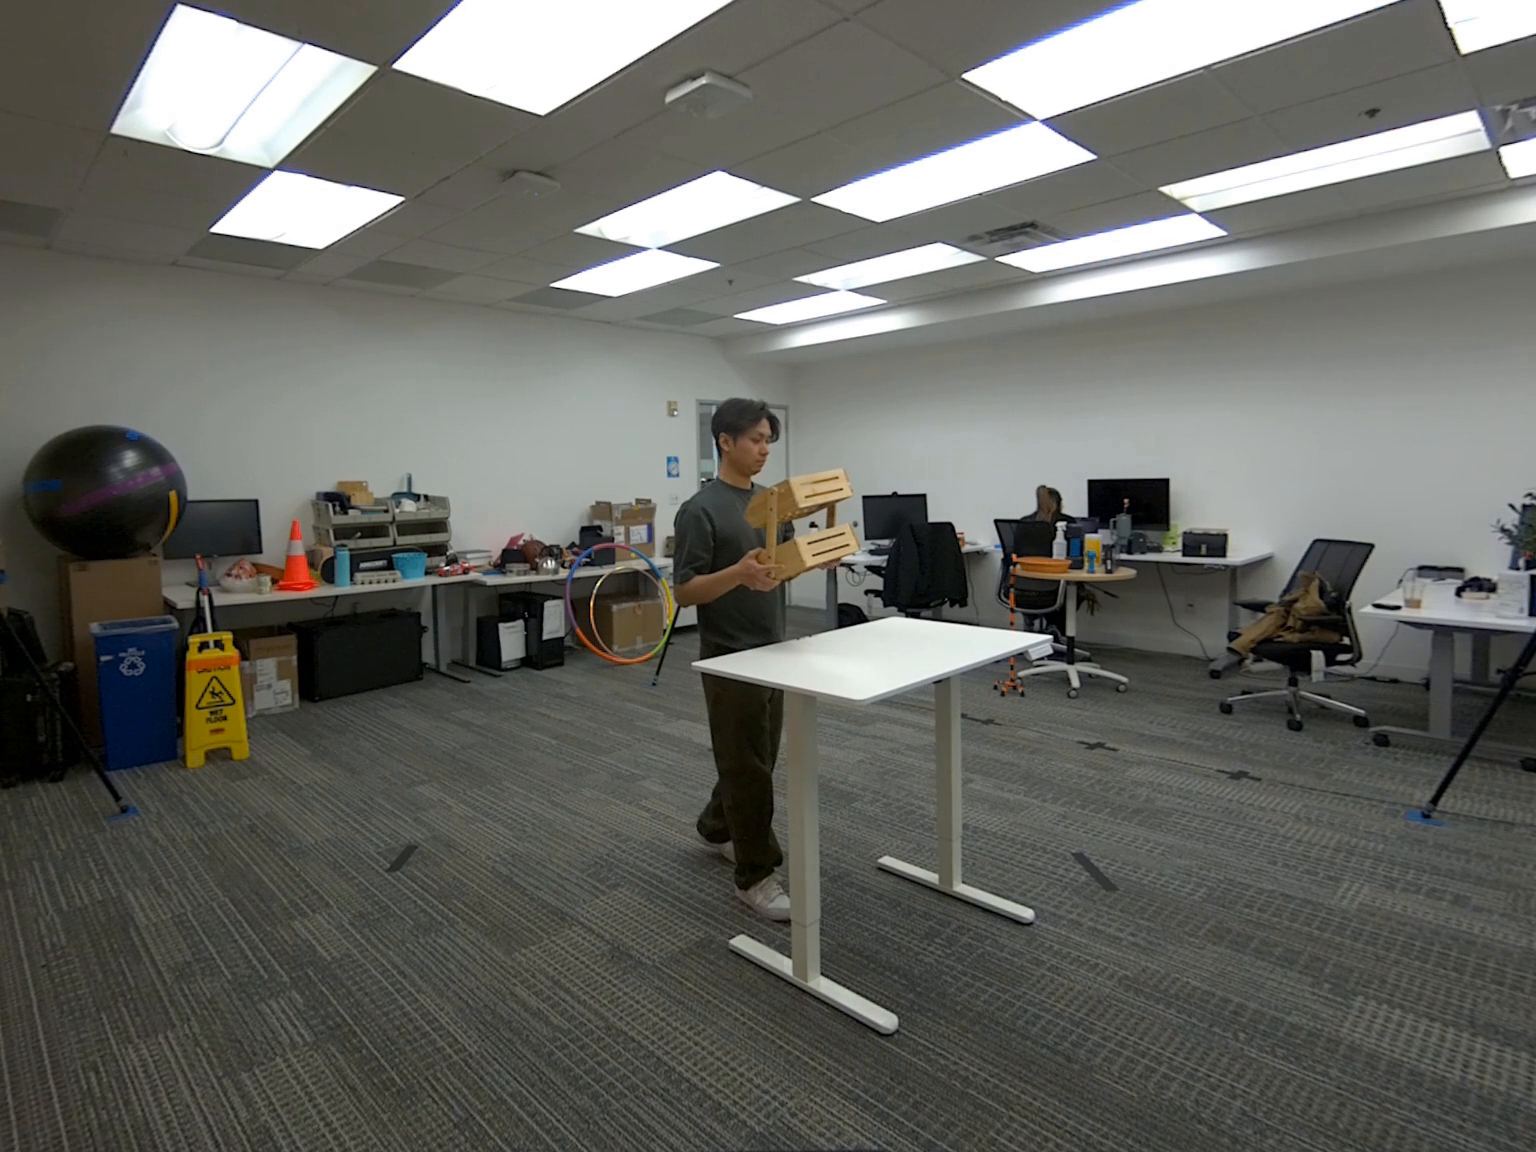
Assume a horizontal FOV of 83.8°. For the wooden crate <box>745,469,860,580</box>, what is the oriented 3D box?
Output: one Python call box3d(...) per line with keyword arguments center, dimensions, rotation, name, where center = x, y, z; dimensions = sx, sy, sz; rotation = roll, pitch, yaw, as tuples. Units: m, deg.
box3d(center=(0.086, -0.149, 2.674), dimensions=(0.306, 0.275, 0.318), rotation=(-23, -5, 41), name="wooden crate")
